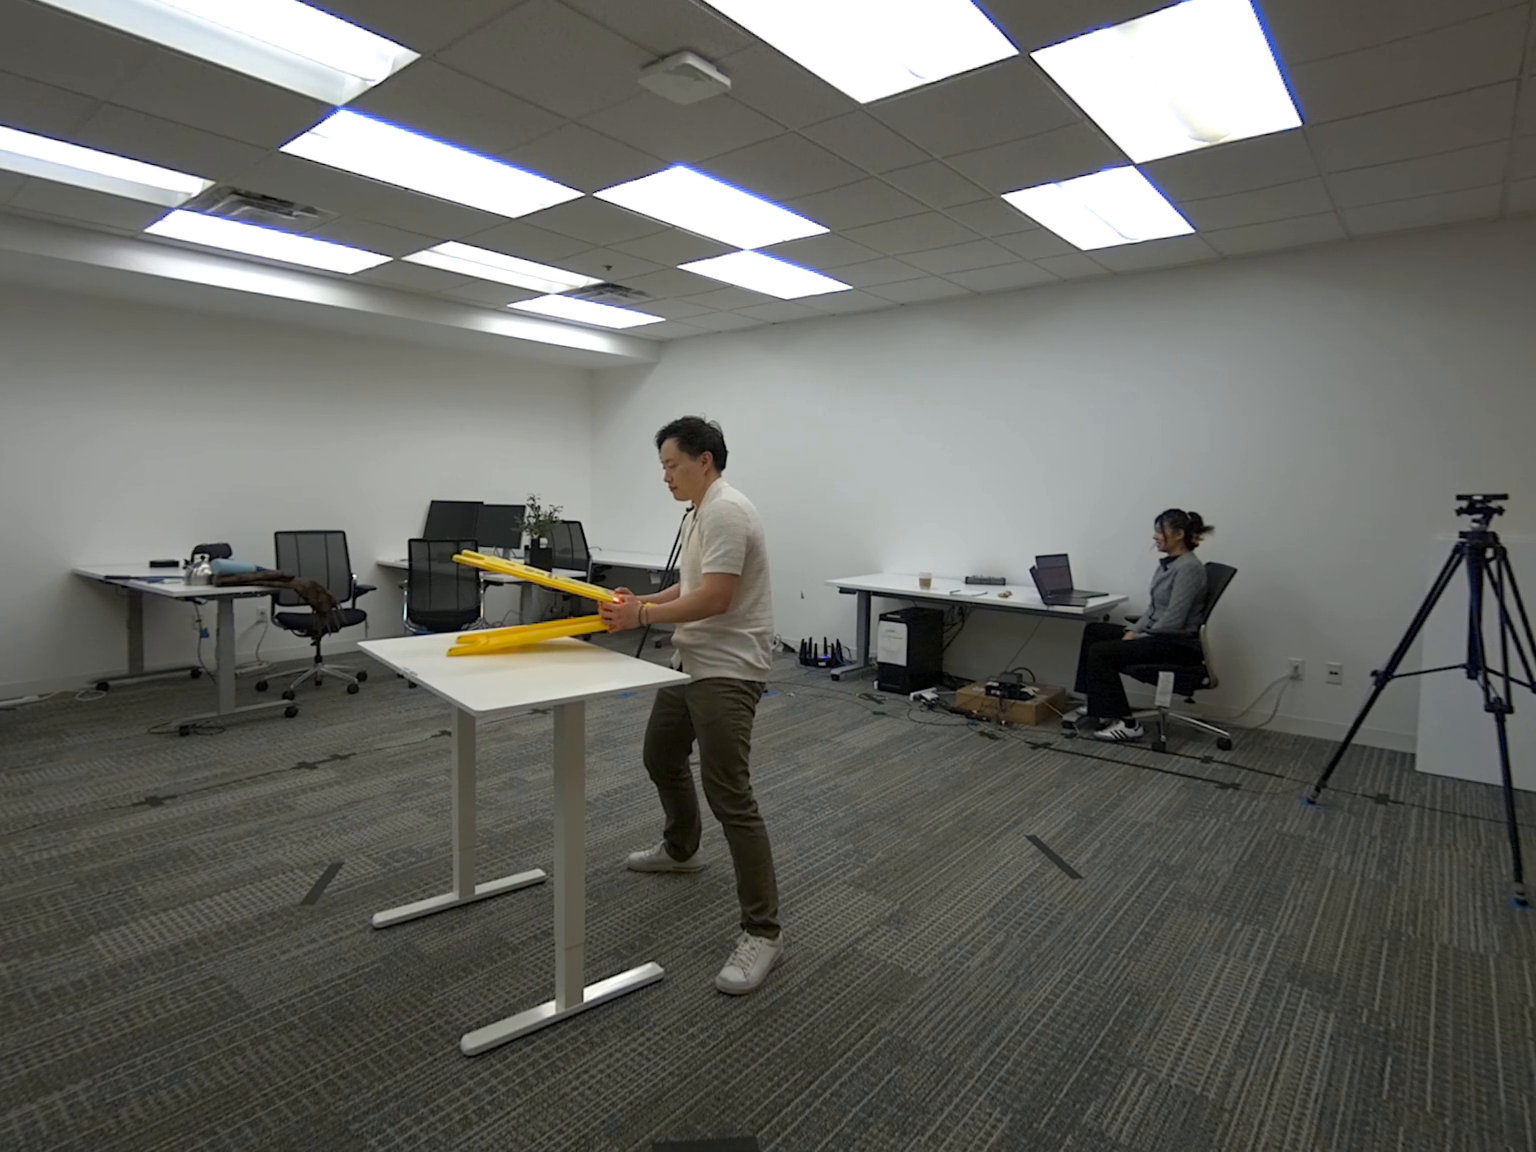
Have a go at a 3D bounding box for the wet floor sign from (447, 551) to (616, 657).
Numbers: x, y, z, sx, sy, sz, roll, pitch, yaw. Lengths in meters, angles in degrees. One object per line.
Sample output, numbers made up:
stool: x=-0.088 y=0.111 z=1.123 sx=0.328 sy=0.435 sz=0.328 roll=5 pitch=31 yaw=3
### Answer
wet floor sign: x=-0.671 y=0.093 z=2.695 sx=0.639 sy=0.289 sz=0.286 roll=4 pitch=3 yaw=-9
